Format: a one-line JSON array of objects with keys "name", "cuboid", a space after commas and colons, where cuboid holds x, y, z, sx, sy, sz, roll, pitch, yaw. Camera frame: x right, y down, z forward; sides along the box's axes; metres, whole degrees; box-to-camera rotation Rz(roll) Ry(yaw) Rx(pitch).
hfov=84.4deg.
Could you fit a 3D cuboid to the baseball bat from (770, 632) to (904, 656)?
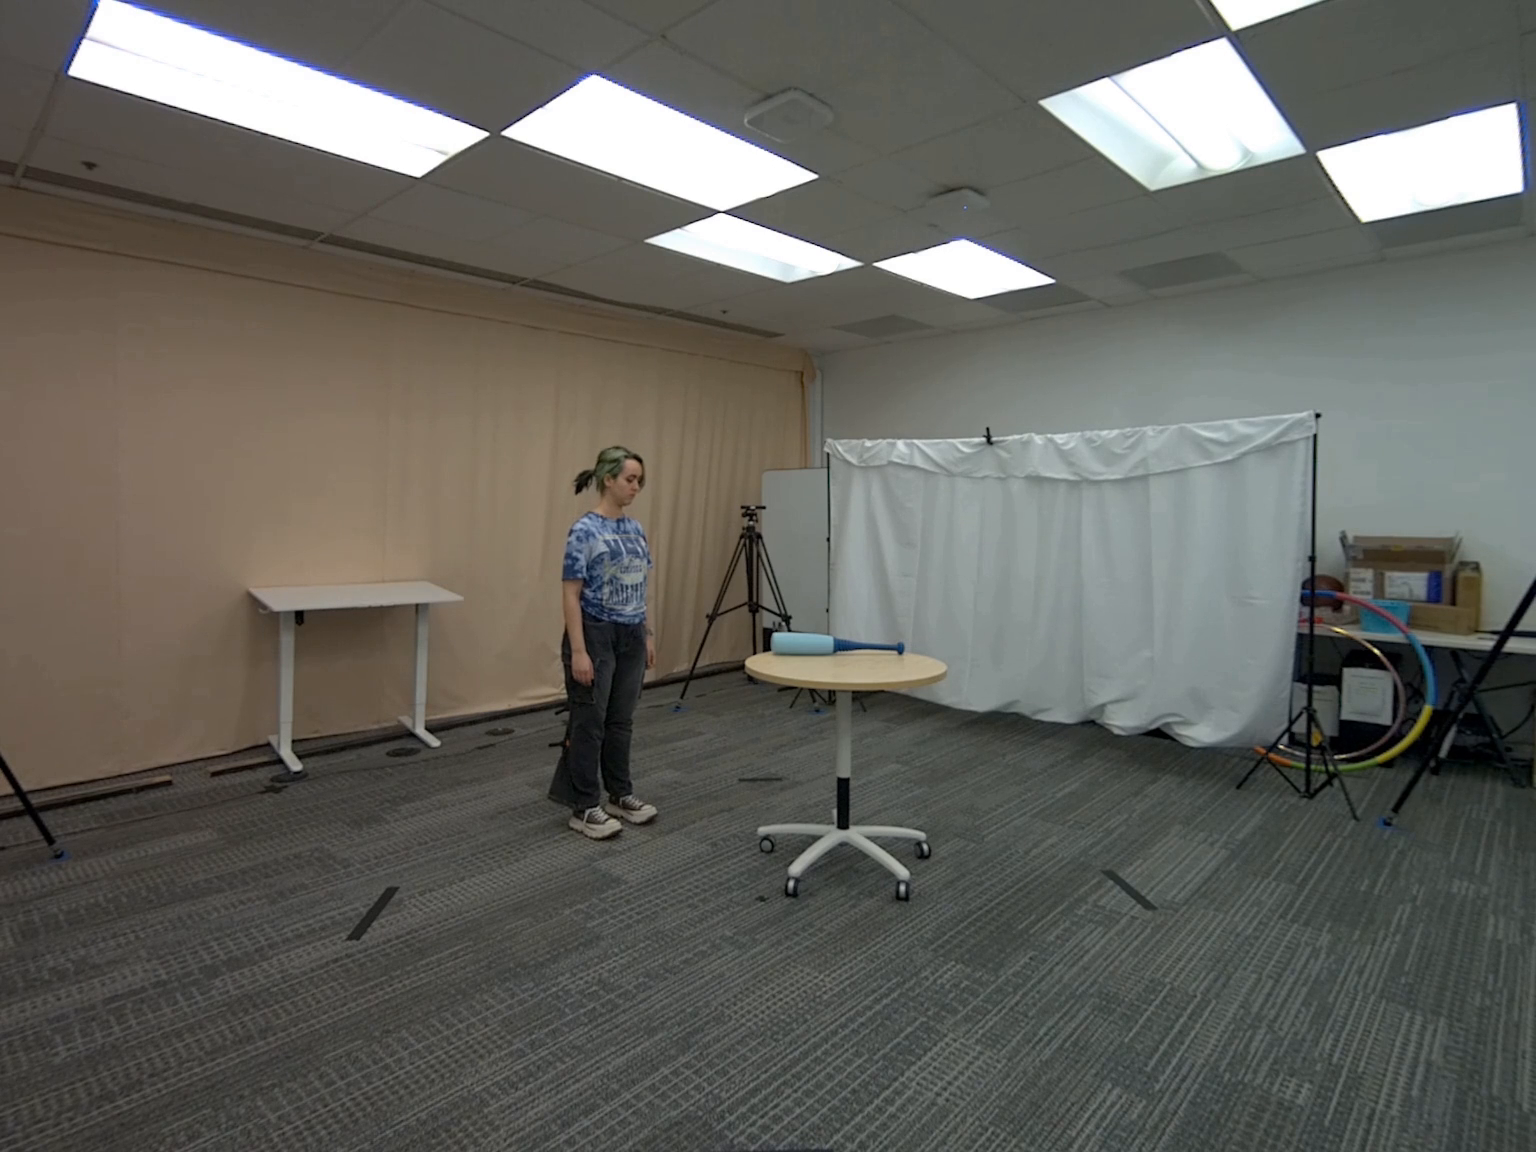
[{"name": "baseball bat", "cuboid": [0.287, 0.287, 3.437, 0.541, 0.089, 0.089, 2, 4, -3]}]
